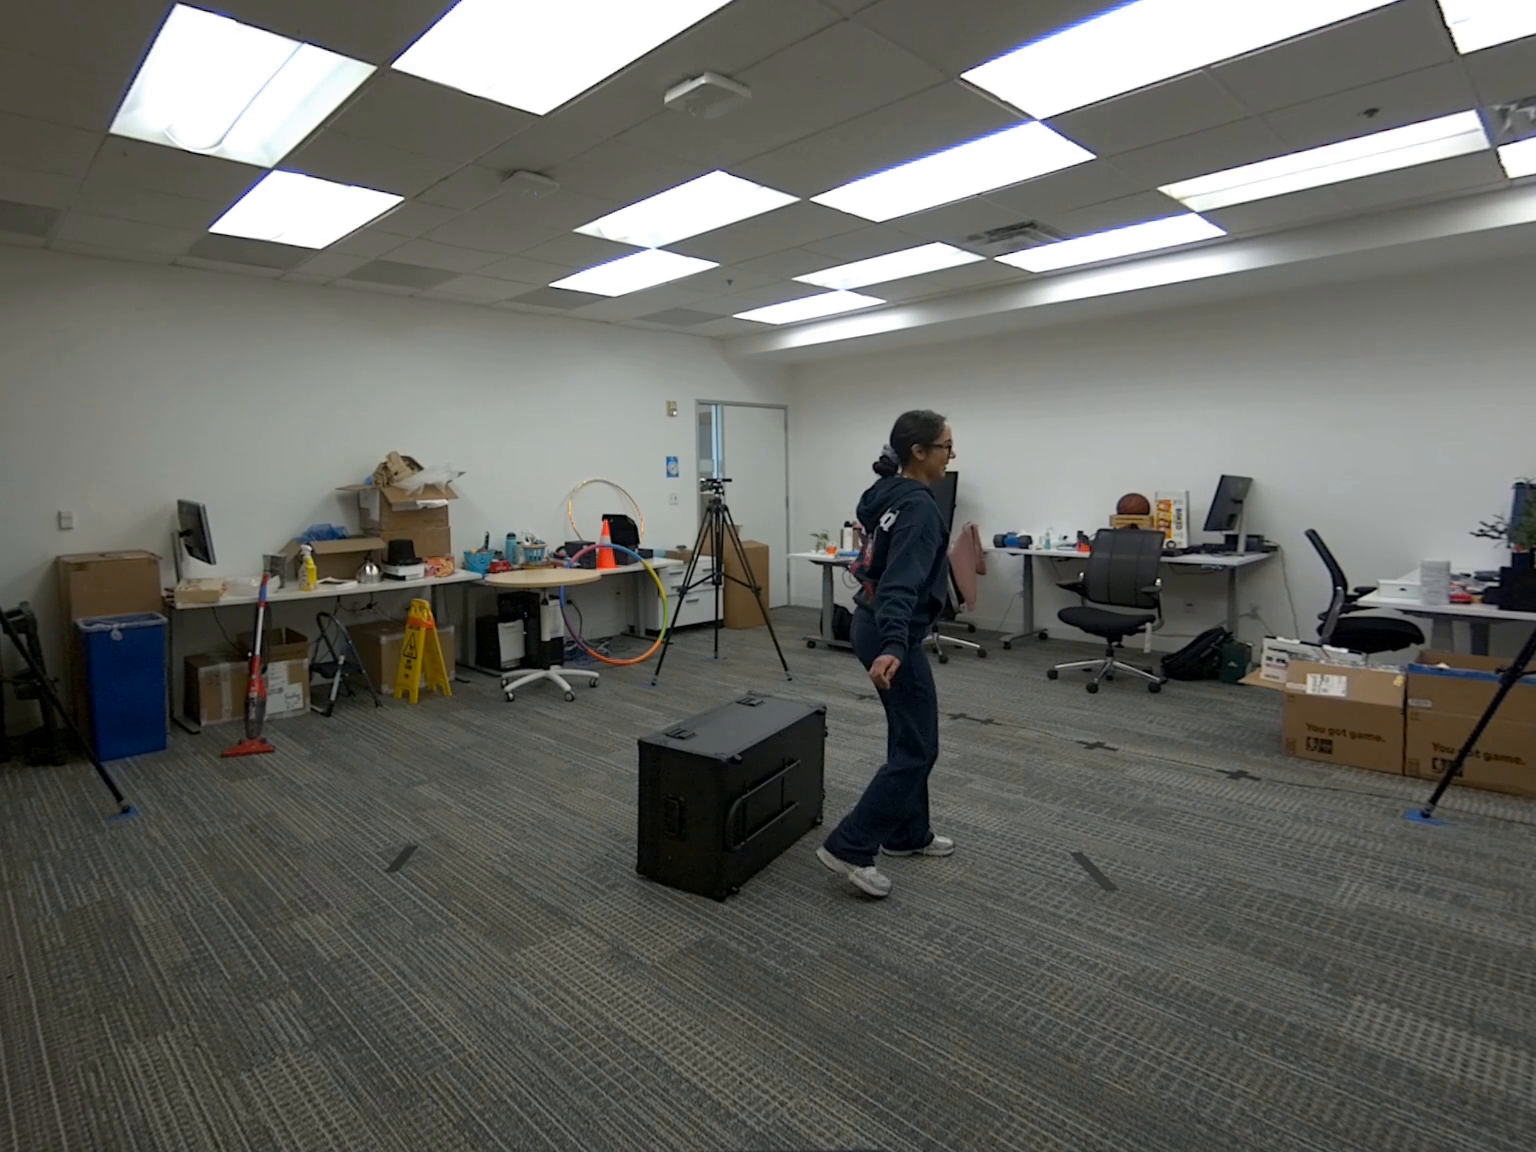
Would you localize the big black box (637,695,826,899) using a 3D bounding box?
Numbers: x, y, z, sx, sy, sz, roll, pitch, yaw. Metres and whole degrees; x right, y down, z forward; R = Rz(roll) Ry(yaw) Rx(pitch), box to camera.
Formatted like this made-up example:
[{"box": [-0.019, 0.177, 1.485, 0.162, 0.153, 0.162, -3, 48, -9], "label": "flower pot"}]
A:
[{"box": [-0.085, 0.775, 3.238, 0.407, 0.518, 0.843, 4, 8, 30], "label": "big black box"}]
